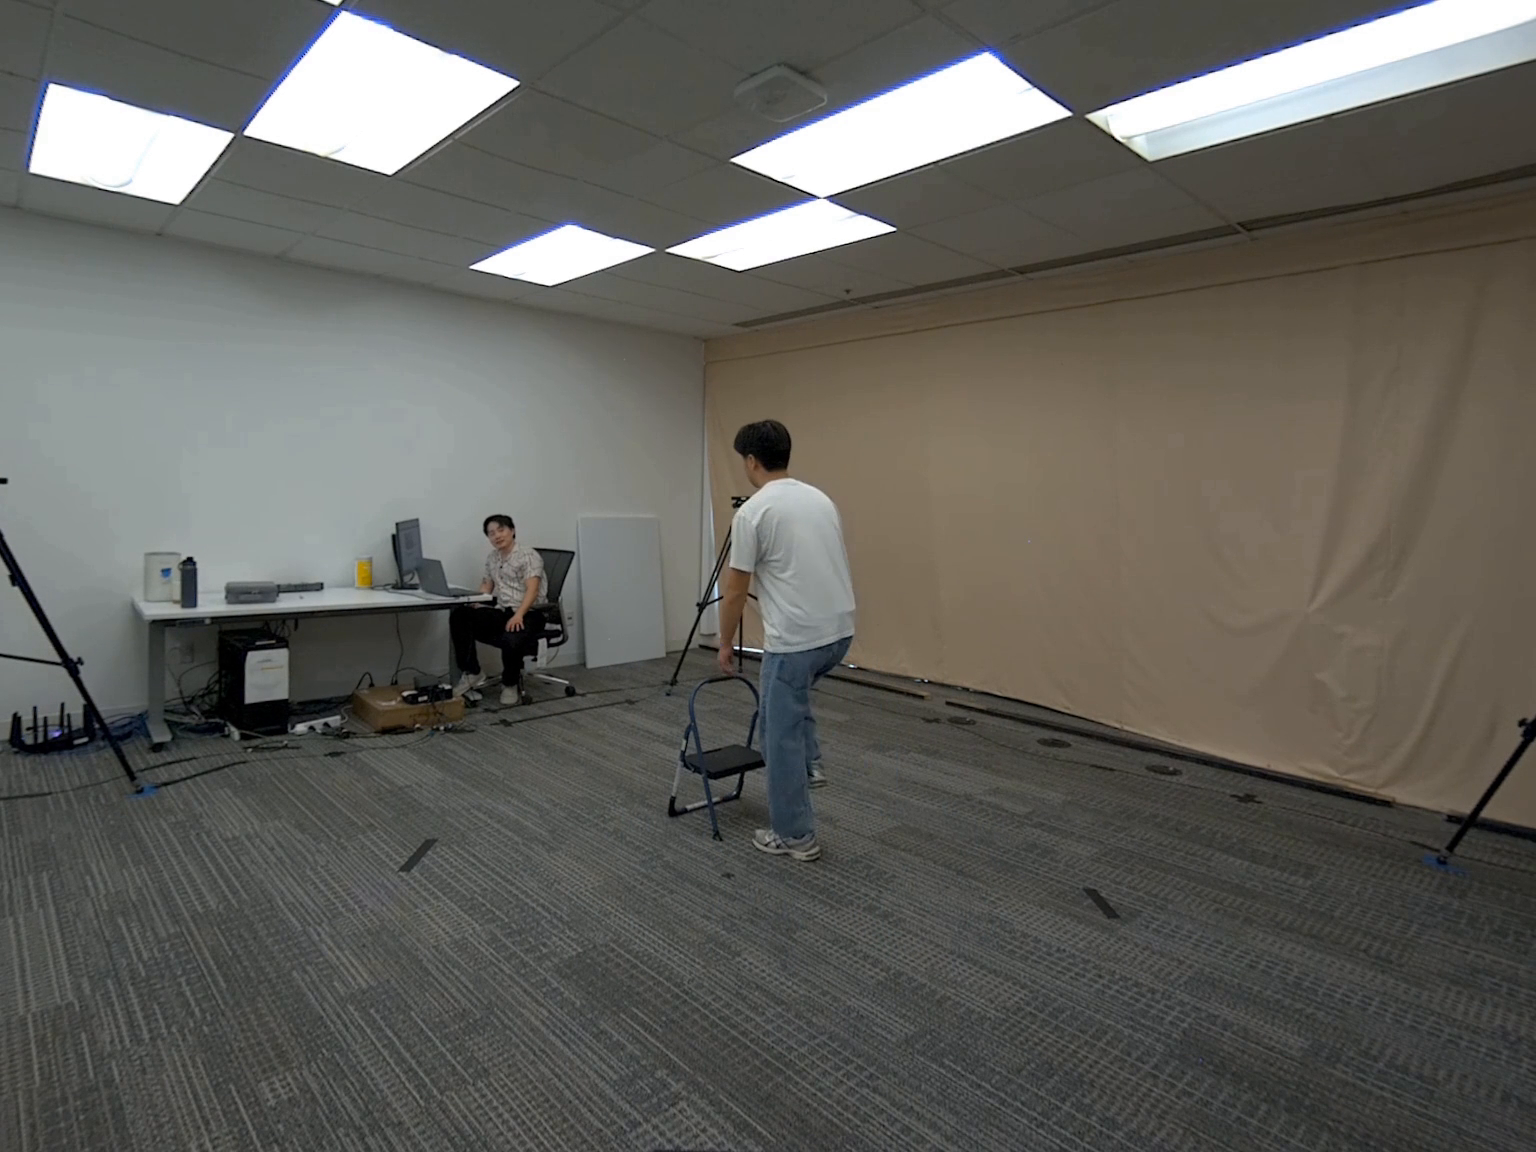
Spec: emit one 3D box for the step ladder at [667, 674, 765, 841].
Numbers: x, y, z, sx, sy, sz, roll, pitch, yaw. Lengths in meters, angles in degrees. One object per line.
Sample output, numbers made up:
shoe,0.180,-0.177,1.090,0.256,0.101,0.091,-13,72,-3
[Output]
step ladder,-0.172,0.750,3.669,0.420,0.605,0.358,-1,5,-44
